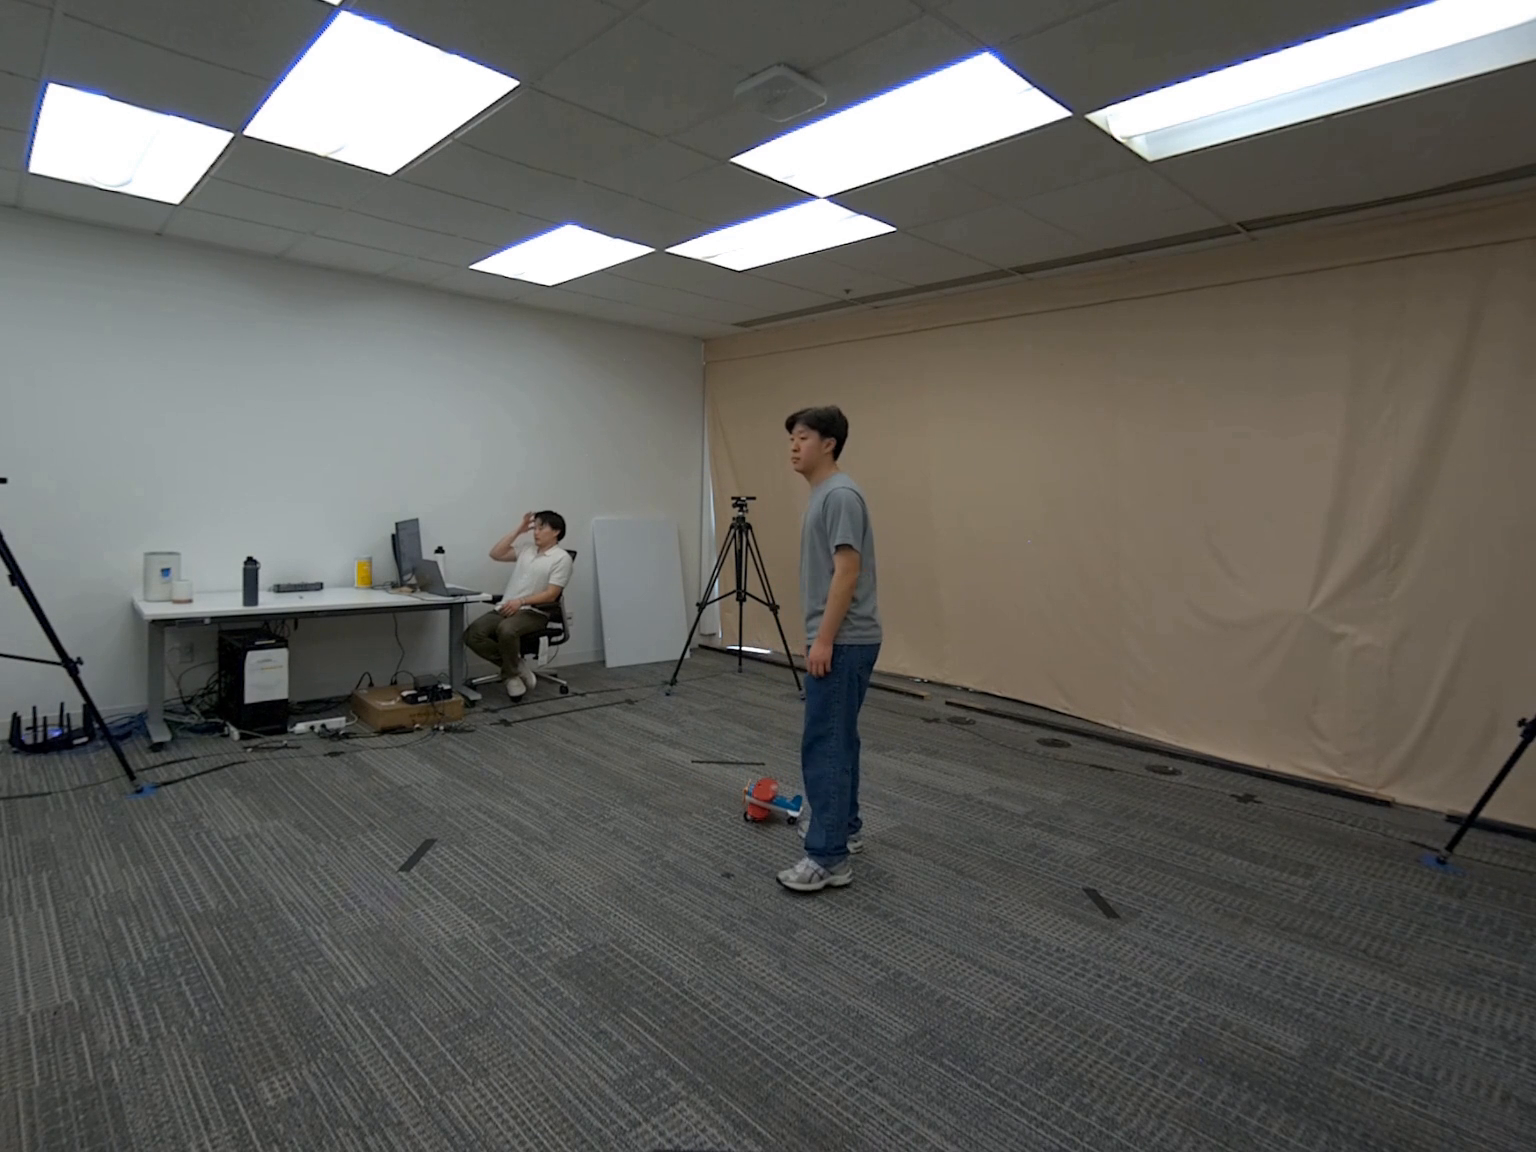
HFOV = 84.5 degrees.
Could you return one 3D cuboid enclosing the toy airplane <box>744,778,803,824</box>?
[{"bbox_3d":[0.008,0.987,3.668,0.256,0.156,0.255,0,5,-15],"label":"toy airplane"}]
